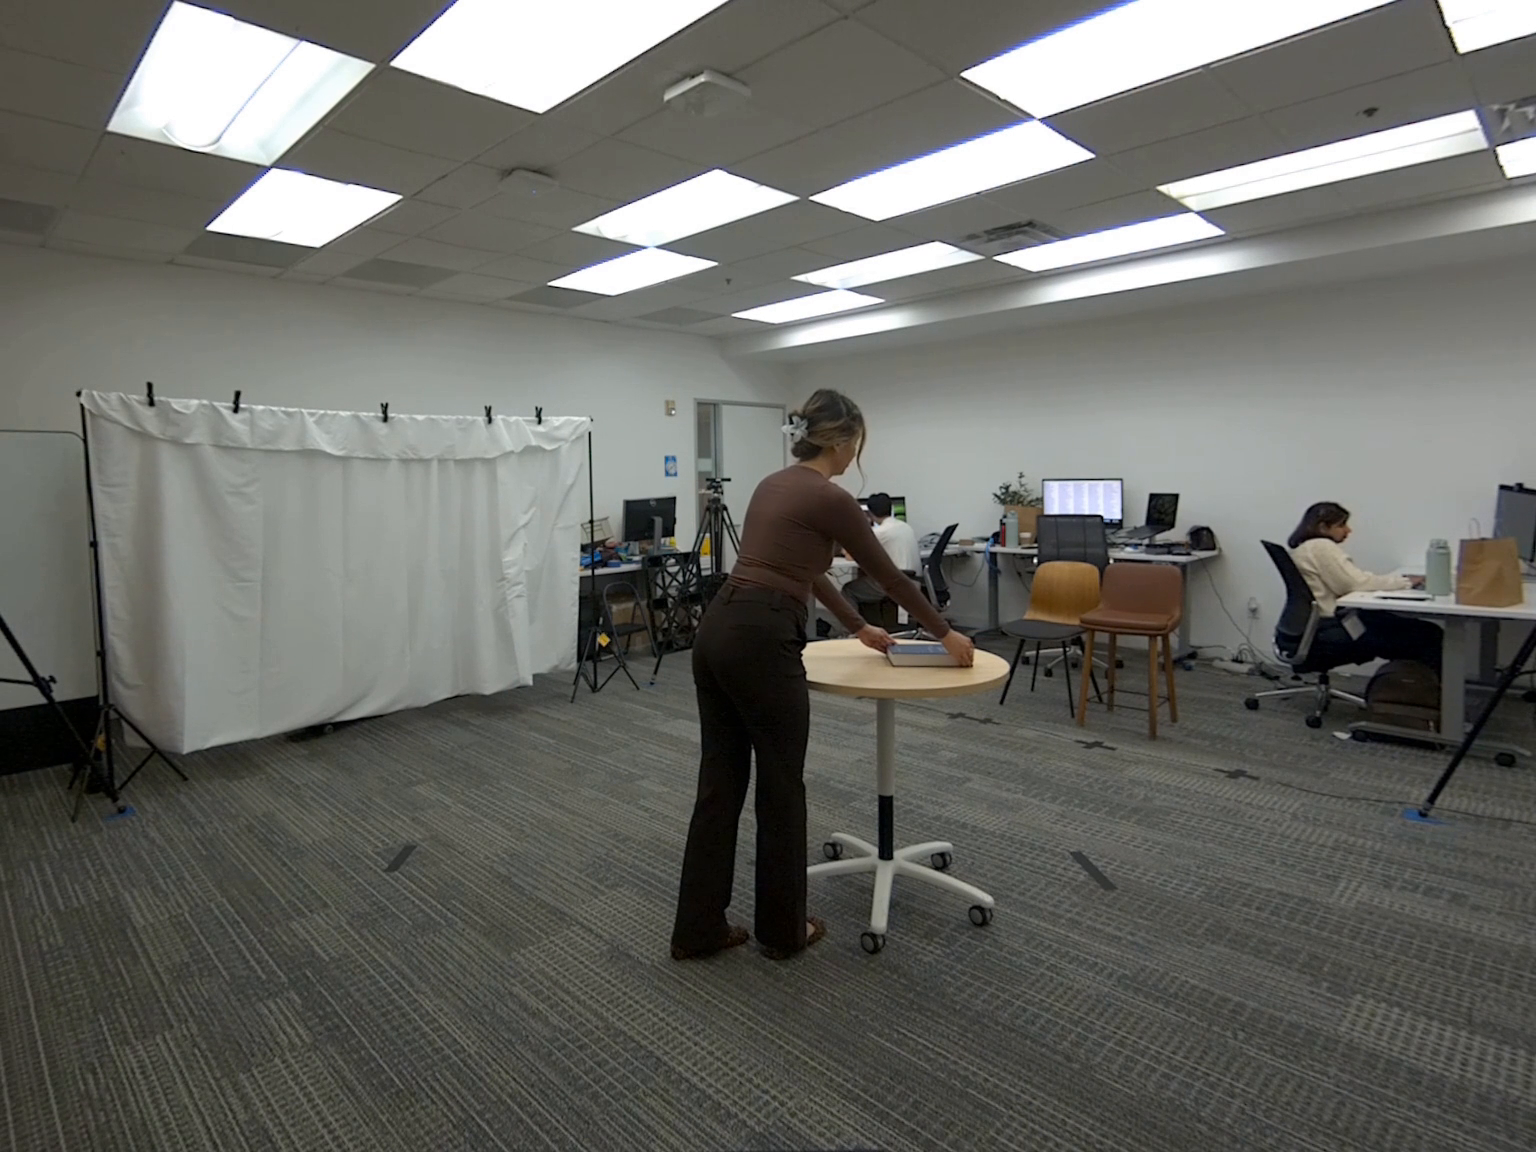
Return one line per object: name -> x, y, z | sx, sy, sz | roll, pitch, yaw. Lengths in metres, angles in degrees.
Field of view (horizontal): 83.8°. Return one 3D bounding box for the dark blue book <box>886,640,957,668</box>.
dark blue book -> 0.537, 0.259, 2.754 | 0.245, 0.045, 0.164 | -1, 6, 1
